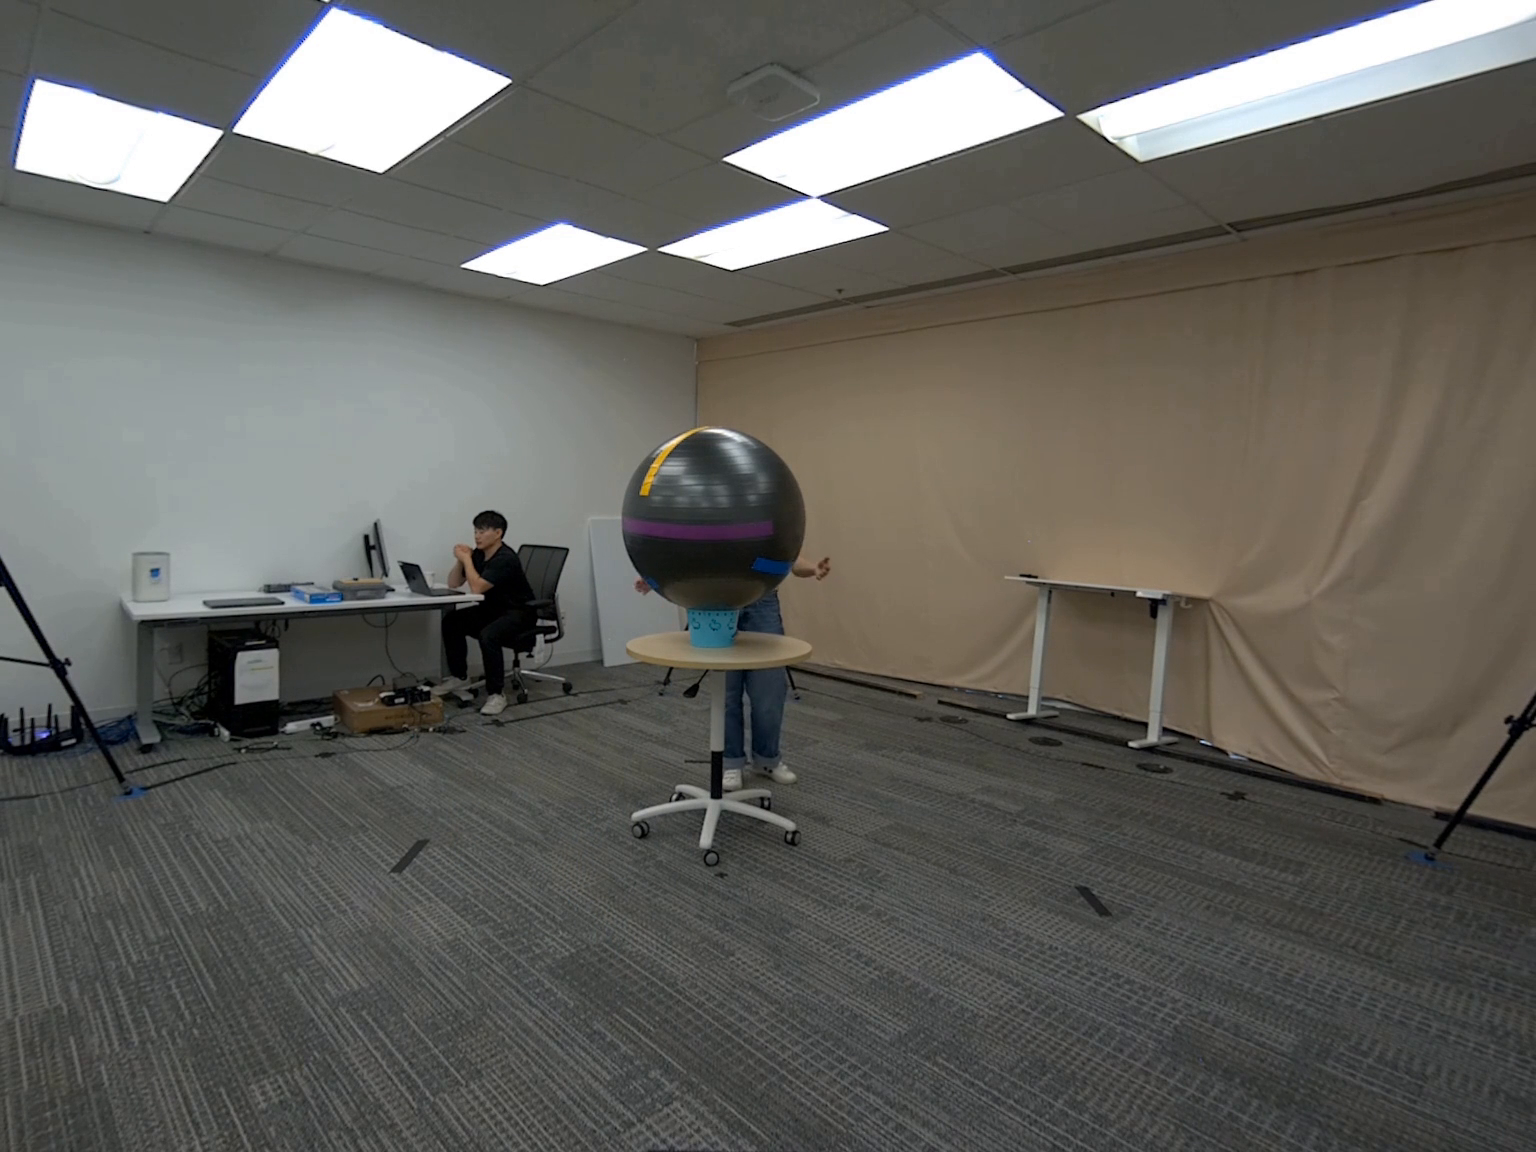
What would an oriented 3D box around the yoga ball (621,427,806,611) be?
[{"bbox_3d":[-0.228,-0.228,3.484,0.757,0.756,0.761,1,4,-1],"label":"yoga ball"}]
